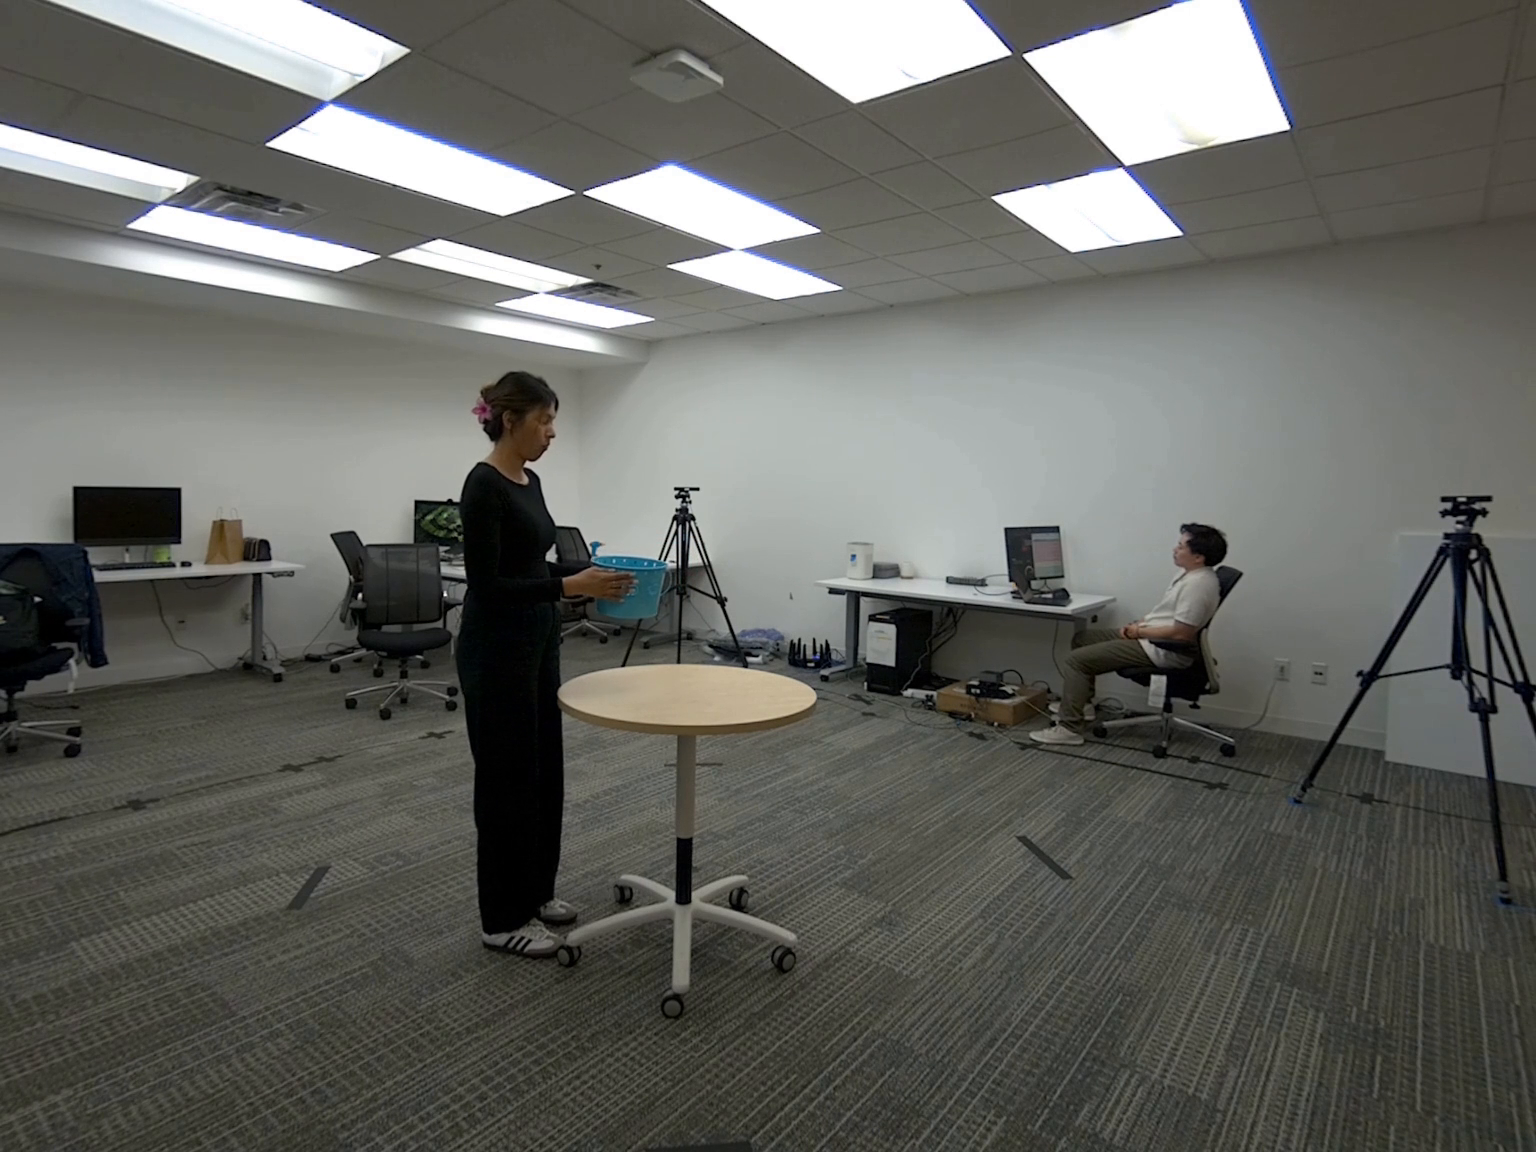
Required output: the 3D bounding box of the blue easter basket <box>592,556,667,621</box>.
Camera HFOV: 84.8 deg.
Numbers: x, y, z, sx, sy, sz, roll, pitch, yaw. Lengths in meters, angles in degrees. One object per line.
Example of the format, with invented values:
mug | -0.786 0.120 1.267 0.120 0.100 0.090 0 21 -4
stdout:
blue easter basket | -0.427 0.036 2.530 0.243 0.155 0.246 3 9 -2
